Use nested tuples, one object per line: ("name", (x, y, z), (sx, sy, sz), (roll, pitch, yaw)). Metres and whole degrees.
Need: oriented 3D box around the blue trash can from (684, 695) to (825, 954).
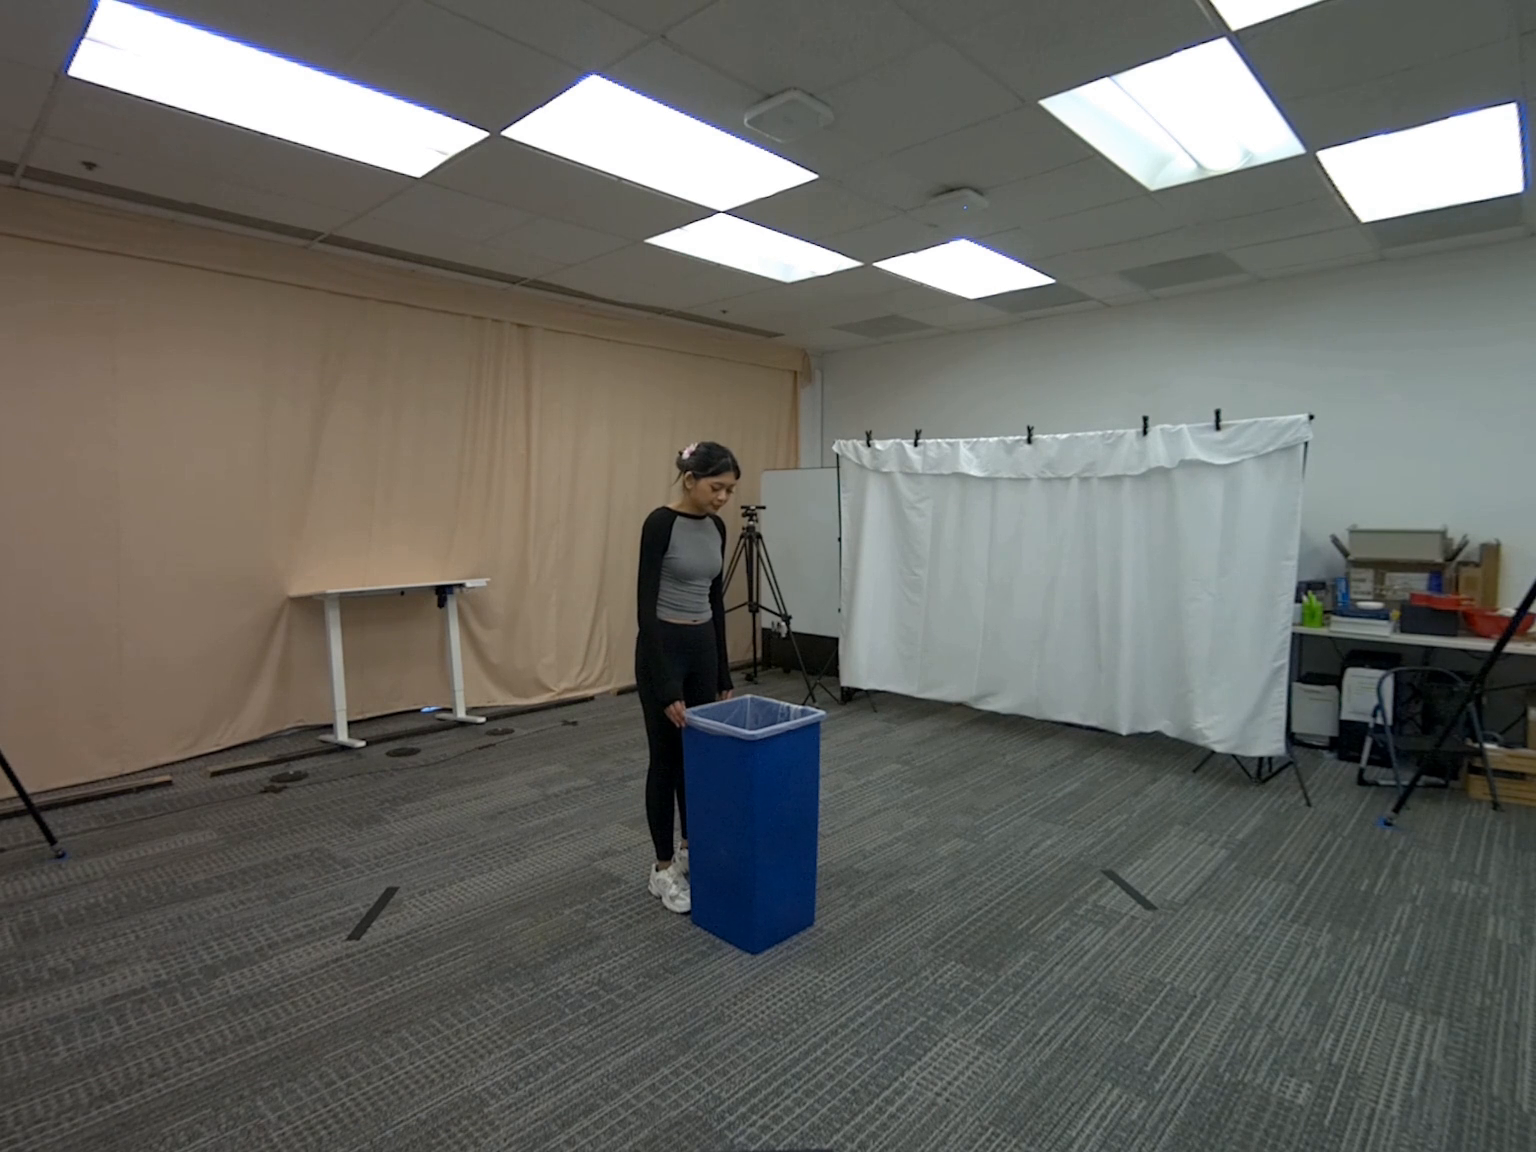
("blue trash can", (-0.049, 0.803, 2.784), (0.390, 0.712, 0.362), (3, 4, 44))
